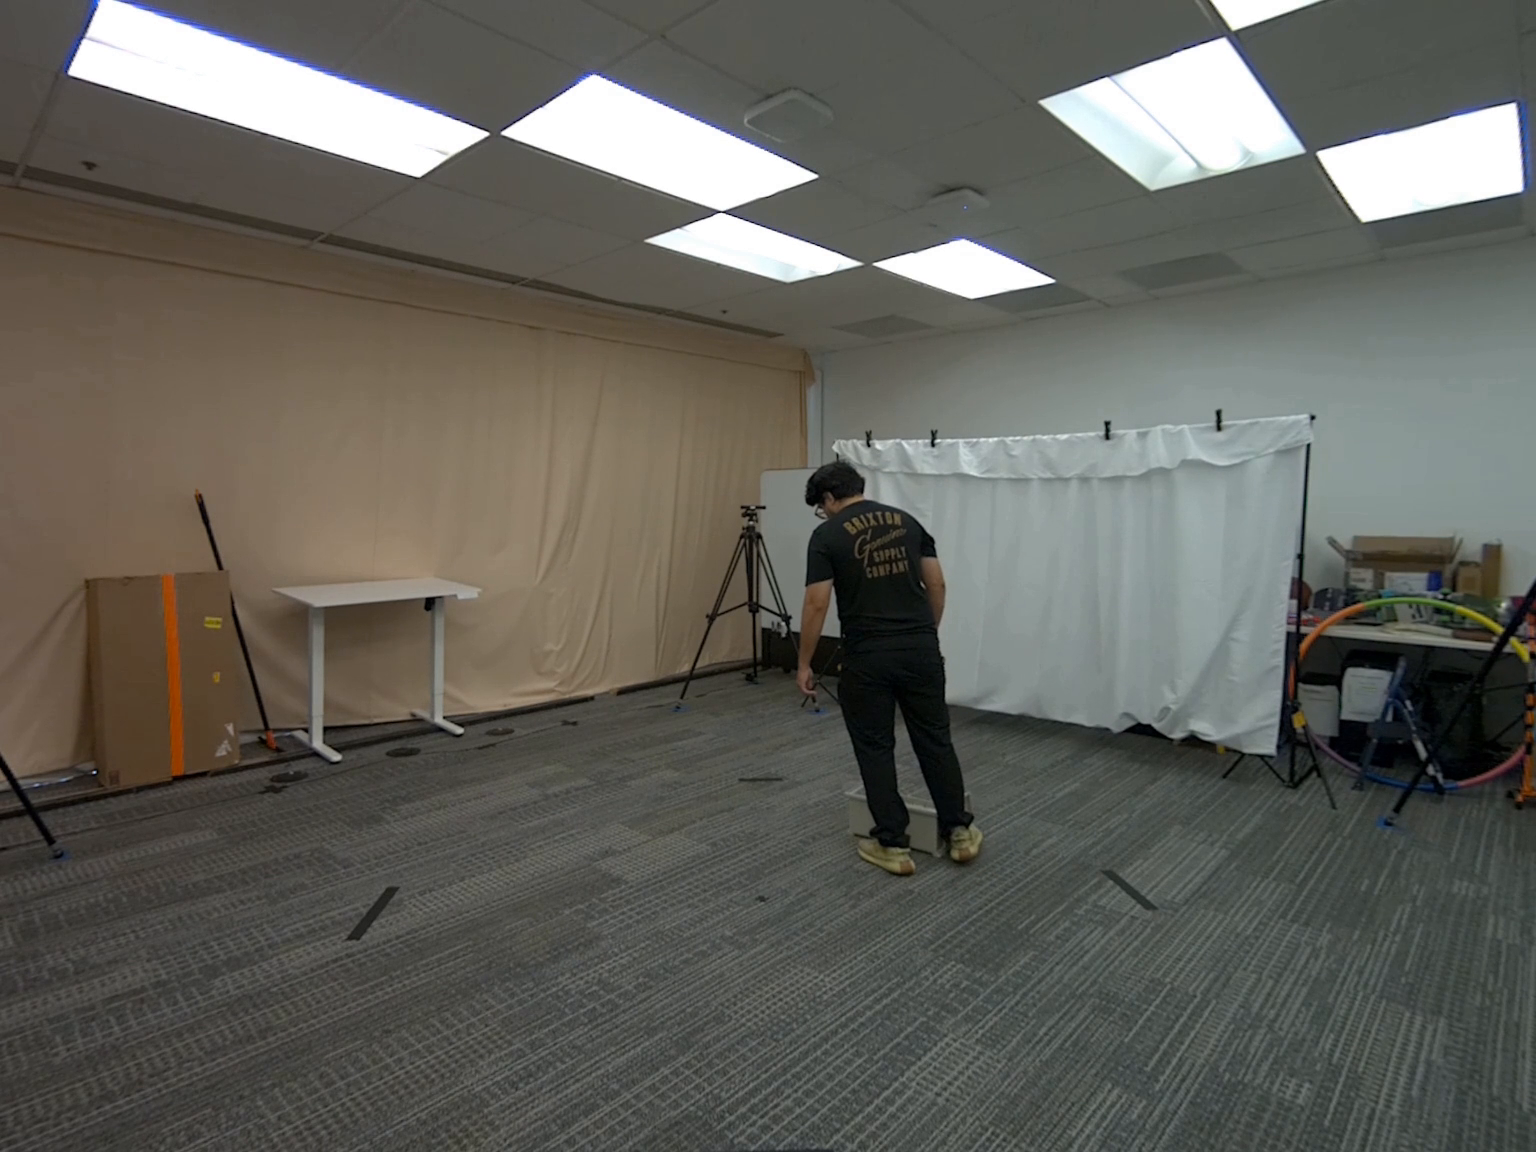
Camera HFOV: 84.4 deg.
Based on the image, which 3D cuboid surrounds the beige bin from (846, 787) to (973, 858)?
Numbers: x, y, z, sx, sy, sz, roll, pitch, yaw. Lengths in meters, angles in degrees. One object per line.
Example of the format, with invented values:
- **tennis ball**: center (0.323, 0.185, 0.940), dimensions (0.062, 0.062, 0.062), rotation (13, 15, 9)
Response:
- **beige bin**: center (0.598, 1.006, 3.593), dimensions (0.435, 0.188, 0.367), rotation (4, 6, 32)
